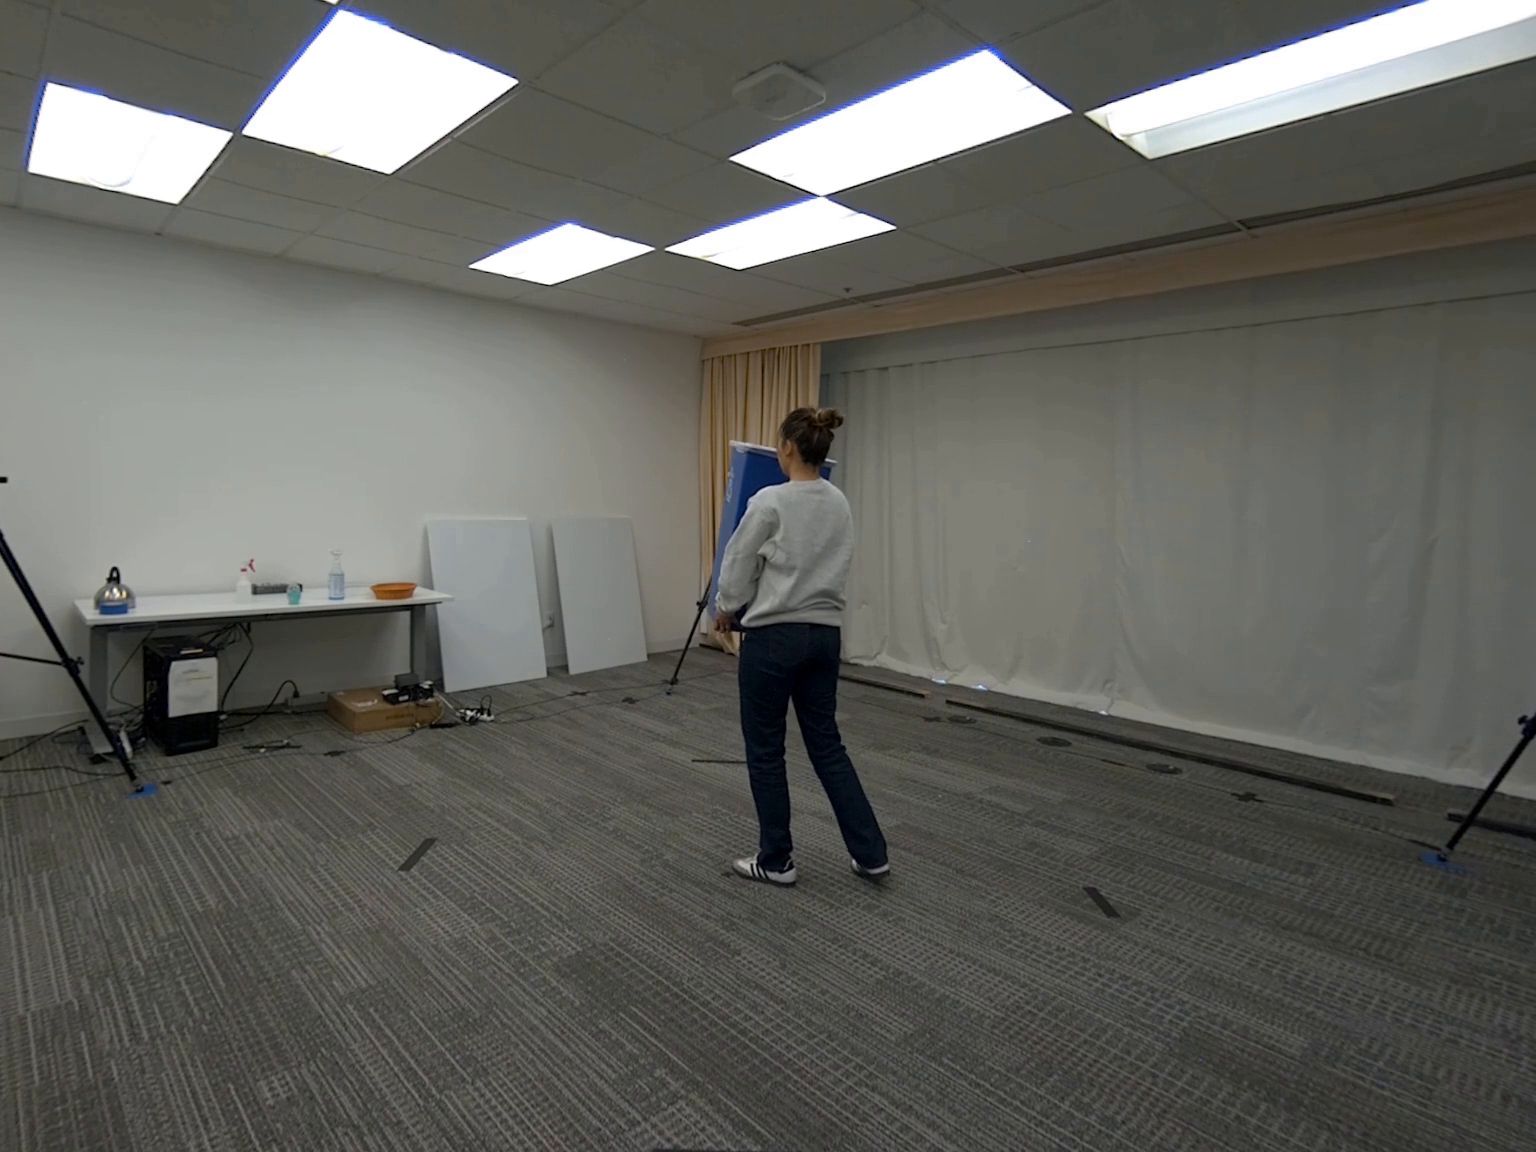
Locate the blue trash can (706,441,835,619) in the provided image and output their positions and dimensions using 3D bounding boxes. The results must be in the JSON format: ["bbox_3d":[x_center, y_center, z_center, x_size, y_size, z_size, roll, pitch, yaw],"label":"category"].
[{"bbox_3d":[-0.013,-0.152,3.342,0.374,0.710,0.379,8,7,-12],"label":"blue trash can"}]
